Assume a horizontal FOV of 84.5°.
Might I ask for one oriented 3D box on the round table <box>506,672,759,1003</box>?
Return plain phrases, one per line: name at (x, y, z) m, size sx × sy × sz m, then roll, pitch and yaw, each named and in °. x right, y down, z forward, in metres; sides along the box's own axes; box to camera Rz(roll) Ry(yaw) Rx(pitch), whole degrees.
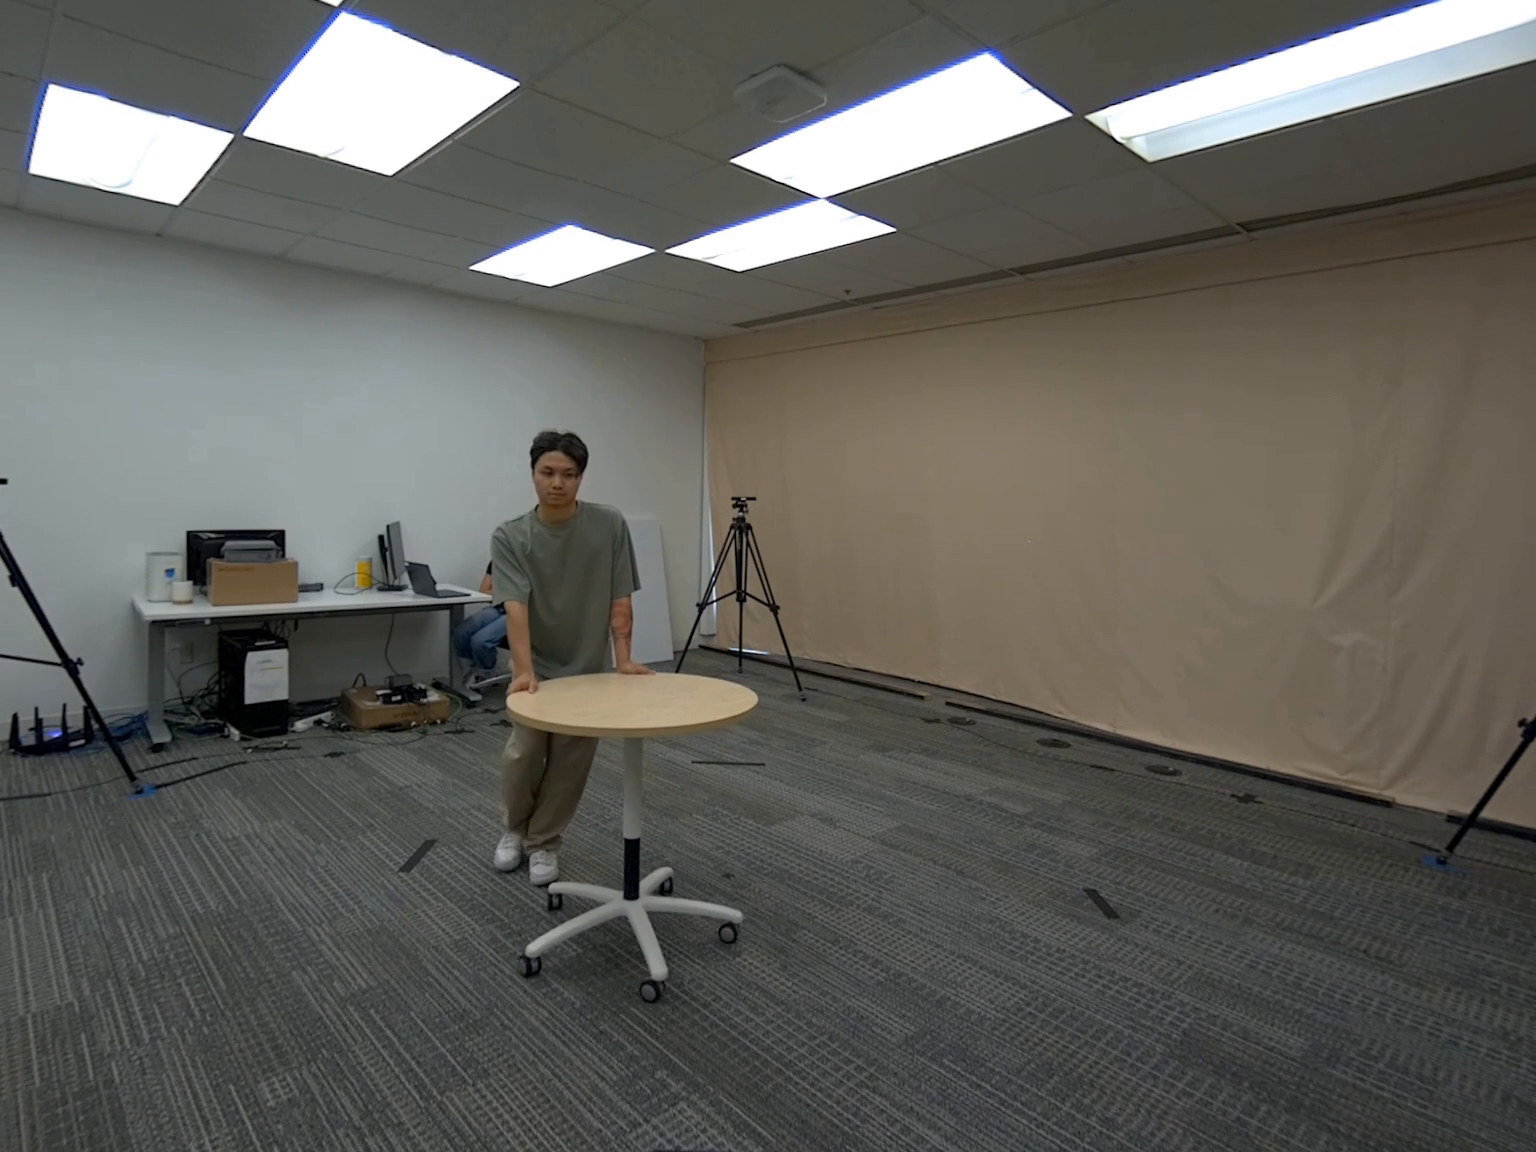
round table at (-0.424, 0.759, 2.599) m, size 0.784 × 0.785 × 0.787 m, roll 1°, pitch 4°, yaw -1°
